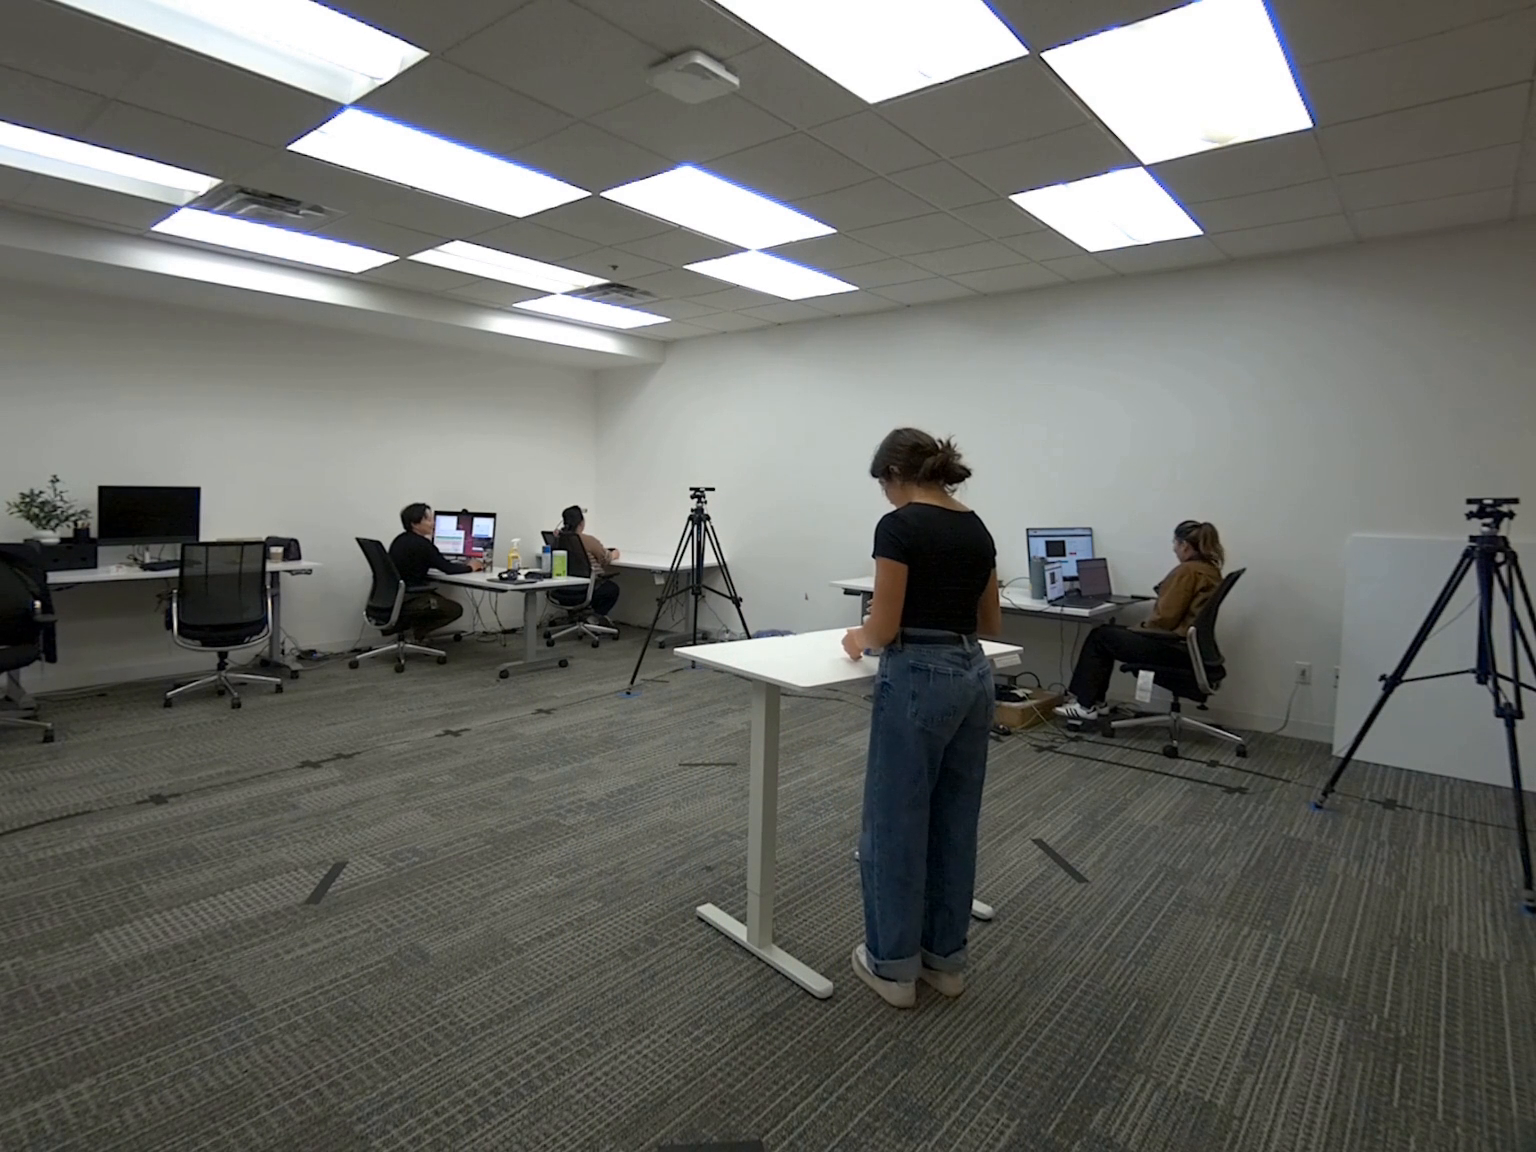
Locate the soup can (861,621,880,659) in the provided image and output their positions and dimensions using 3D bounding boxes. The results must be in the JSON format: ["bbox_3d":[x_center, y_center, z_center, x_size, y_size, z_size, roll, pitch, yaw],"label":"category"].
[{"bbox_3d":[0.325,0.184,2.642,0.067,0.121,0.067,2,3,-2],"label":"soup can"}]
